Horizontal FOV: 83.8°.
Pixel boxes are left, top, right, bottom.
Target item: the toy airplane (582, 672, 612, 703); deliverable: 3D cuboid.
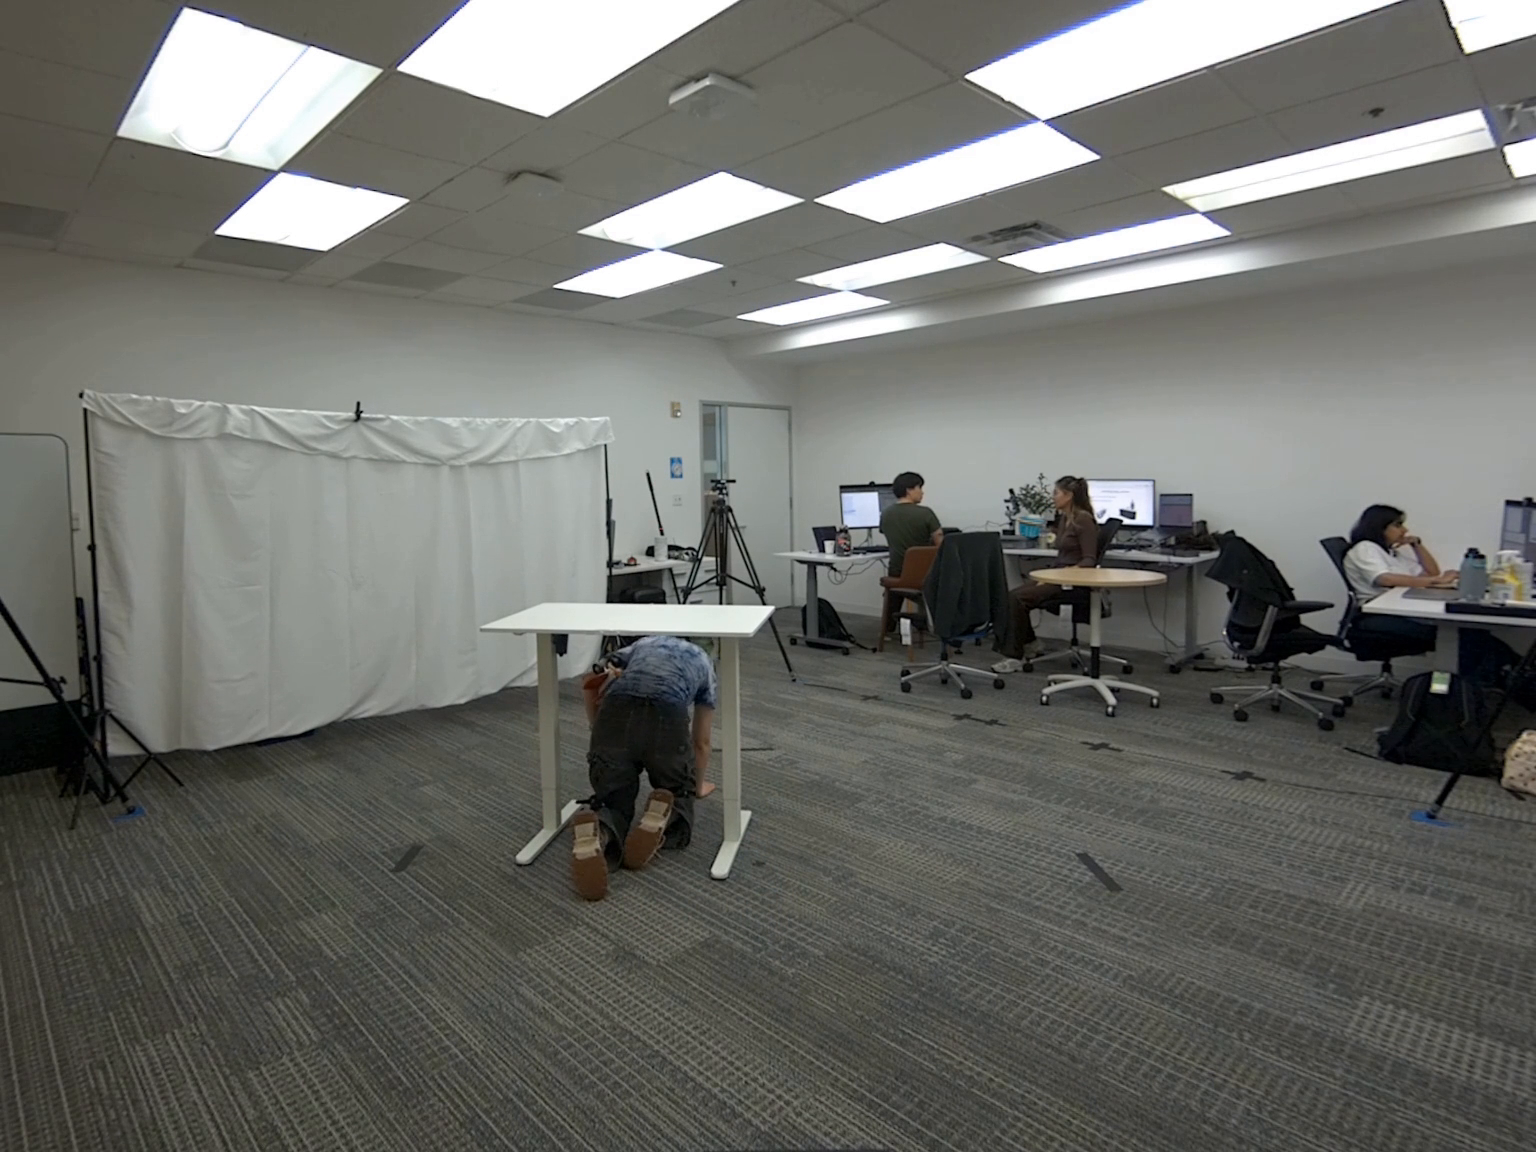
[{"bbox_3d":[-0.673,0.480,3.656,0.249,0.253,0.161,-34,61,-27],"label":"toy airplane"}]
